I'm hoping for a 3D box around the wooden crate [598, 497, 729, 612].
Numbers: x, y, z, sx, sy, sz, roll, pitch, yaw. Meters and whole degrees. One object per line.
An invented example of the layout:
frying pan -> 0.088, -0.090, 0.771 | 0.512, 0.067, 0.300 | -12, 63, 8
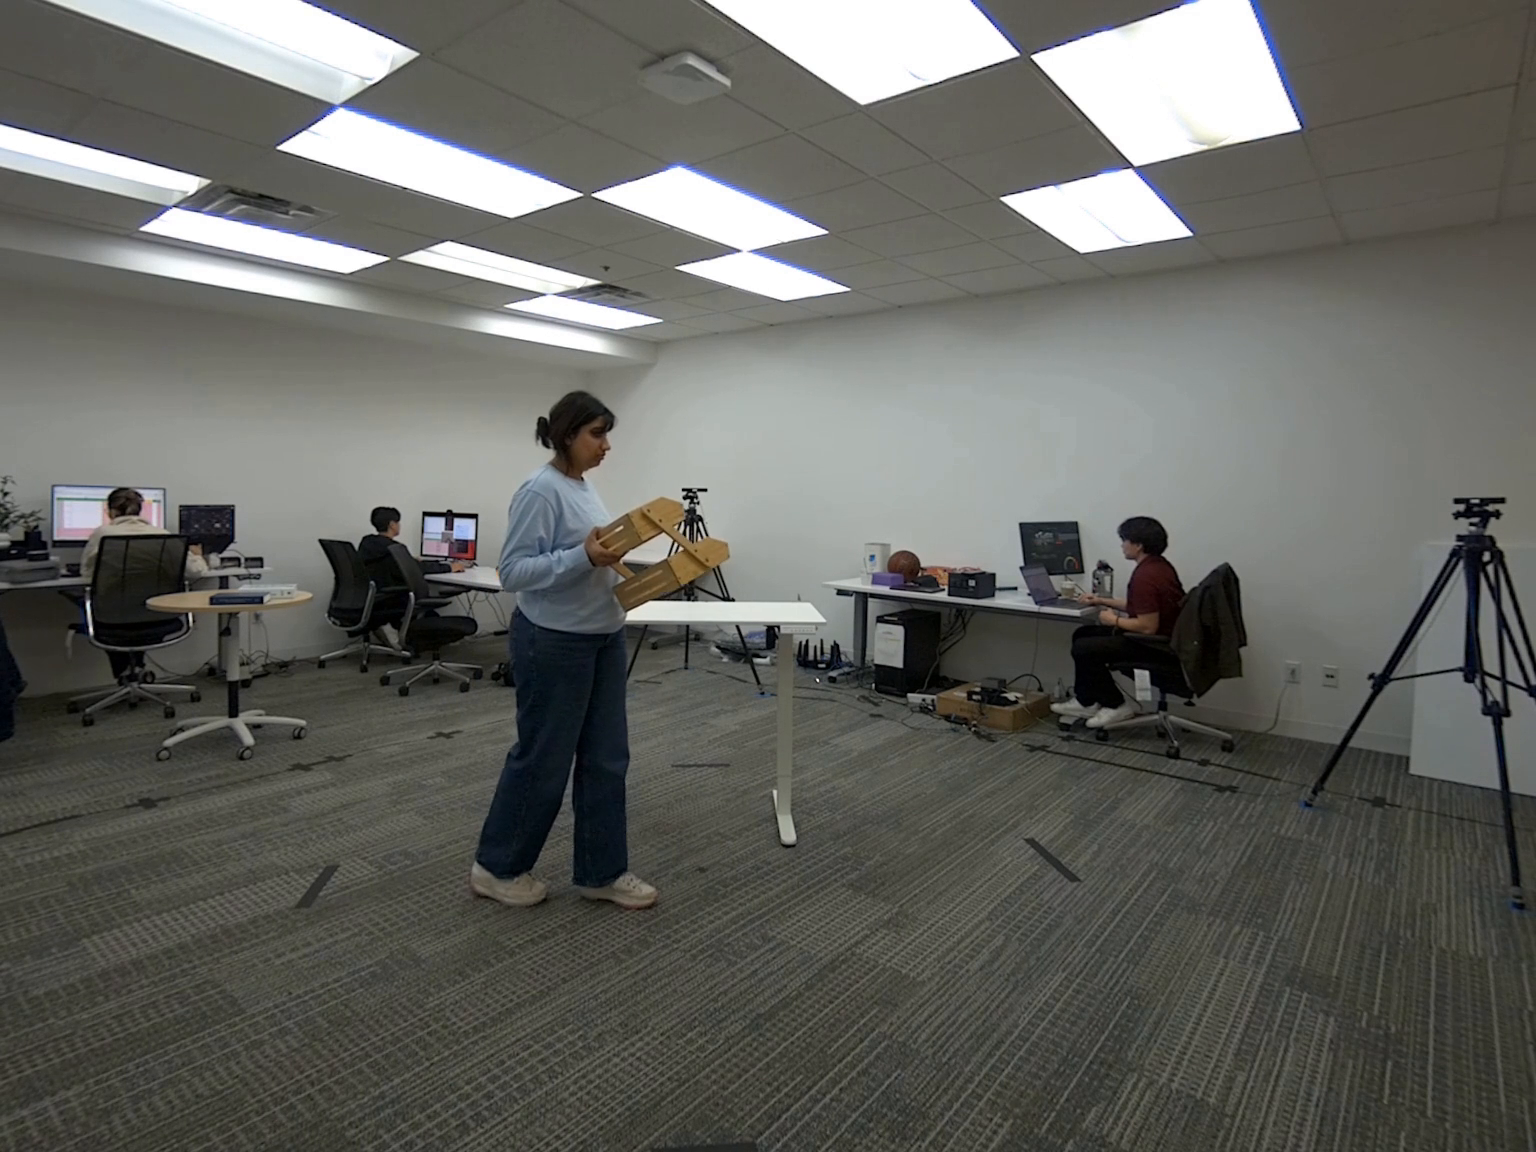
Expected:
wooden crate -> -0.365, -0.082, 2.626 | 0.329, 0.273, 0.298 | -26, 4, 44
